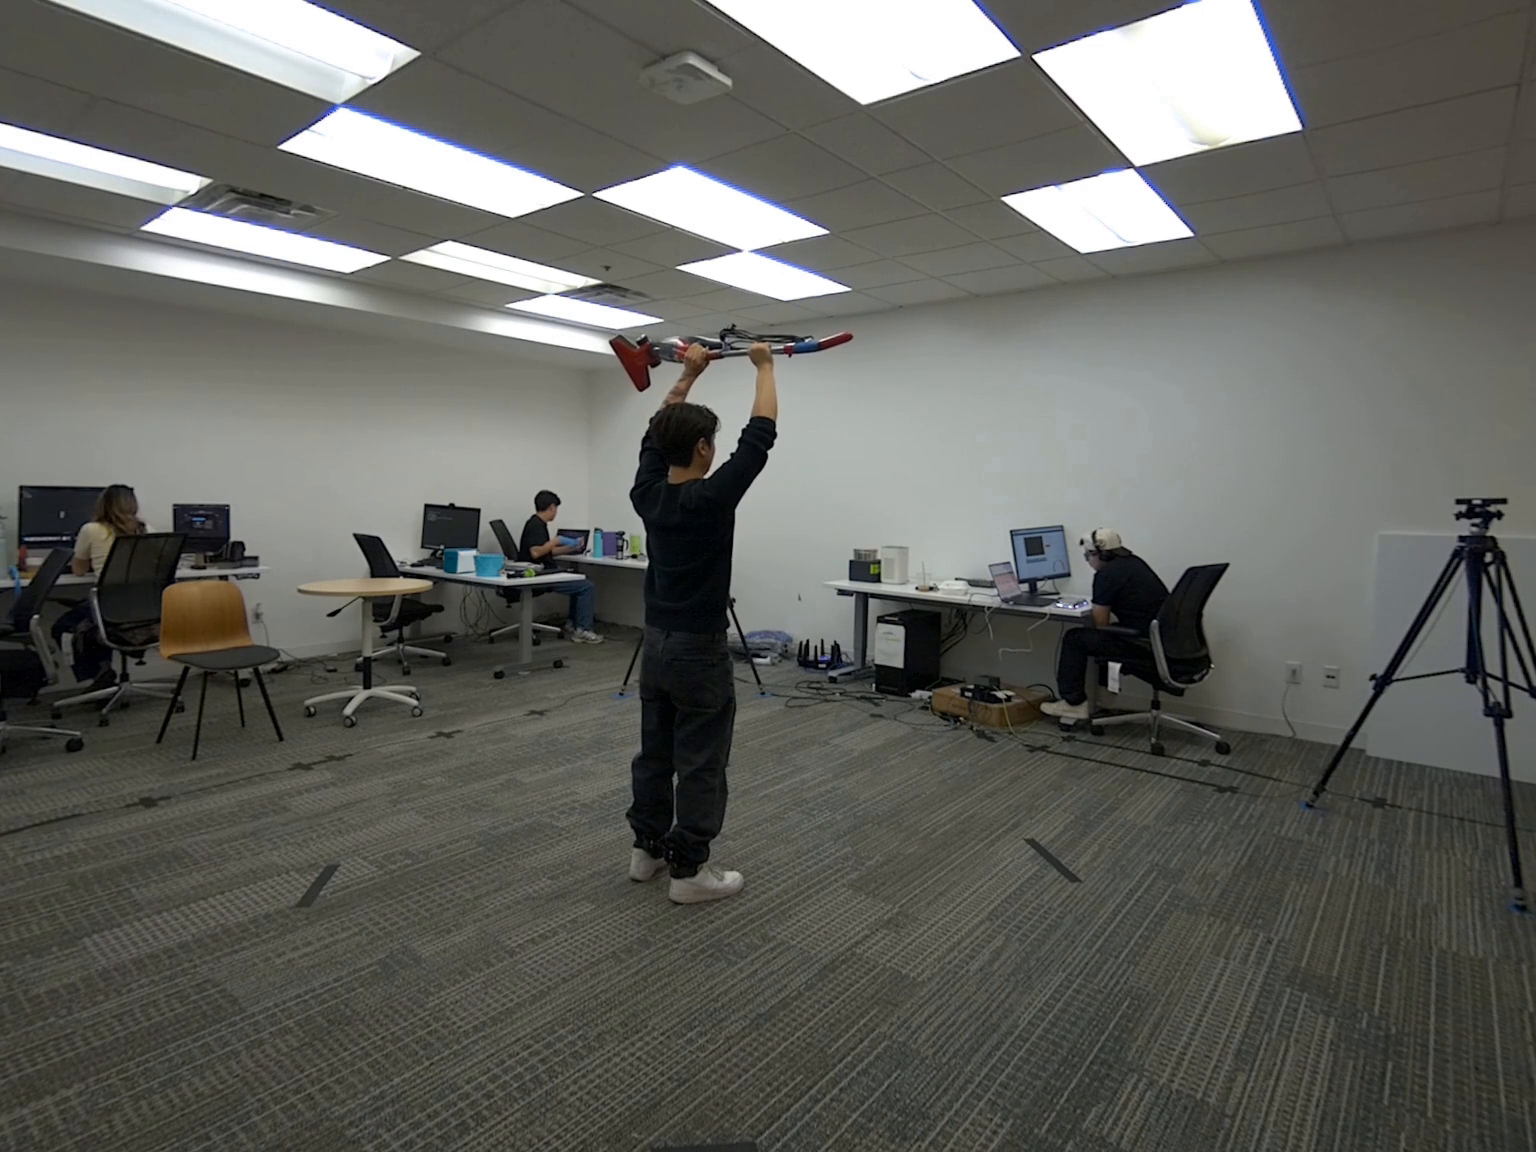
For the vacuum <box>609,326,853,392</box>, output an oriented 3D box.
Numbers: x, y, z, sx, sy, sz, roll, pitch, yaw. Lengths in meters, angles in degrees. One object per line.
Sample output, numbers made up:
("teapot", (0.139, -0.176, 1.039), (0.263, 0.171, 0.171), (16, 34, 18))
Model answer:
("vacuum", (-0.144, -0.828, 3.073), (1.086, 0.144, 0.243), (8, -39, 43))
